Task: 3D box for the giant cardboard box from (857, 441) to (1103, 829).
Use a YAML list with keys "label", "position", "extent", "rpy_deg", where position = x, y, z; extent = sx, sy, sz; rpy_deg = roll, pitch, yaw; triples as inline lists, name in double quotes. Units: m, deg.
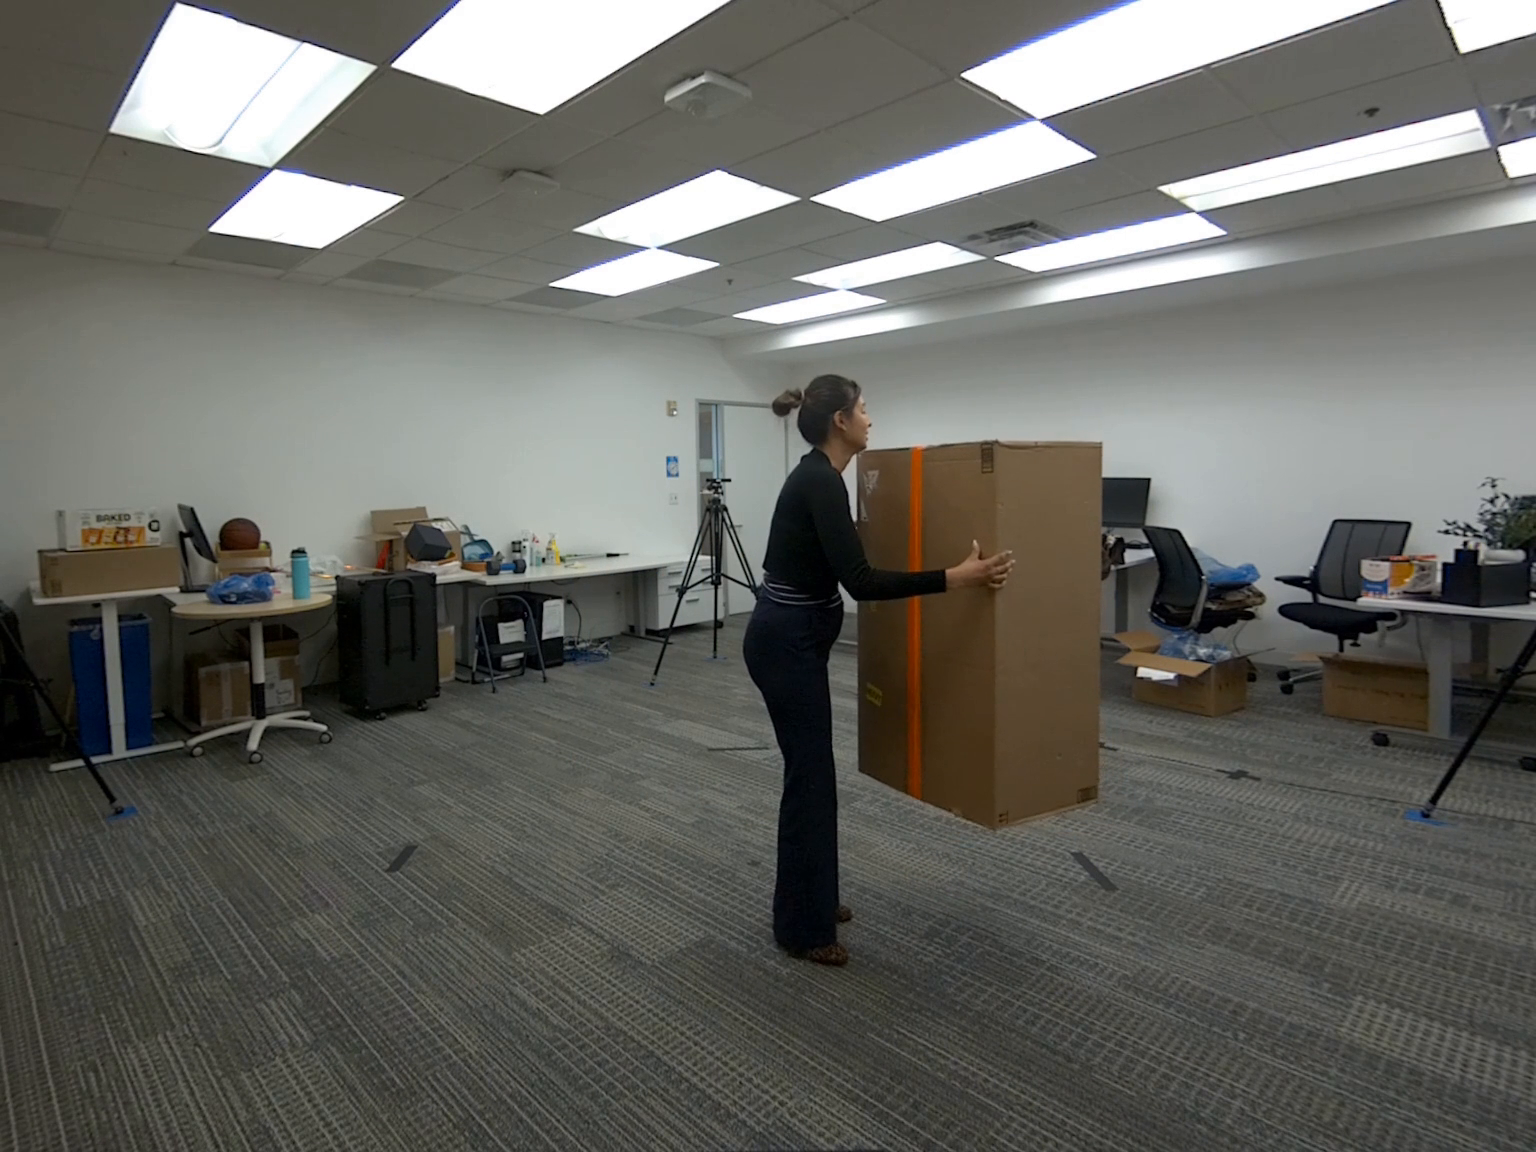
- label: "giant cardboard box"
  position: [0.614, 0.129, 2.552]
  extent: [0.416, 1.023, 0.593]
  rpy_deg: [-2, 3, -31]
